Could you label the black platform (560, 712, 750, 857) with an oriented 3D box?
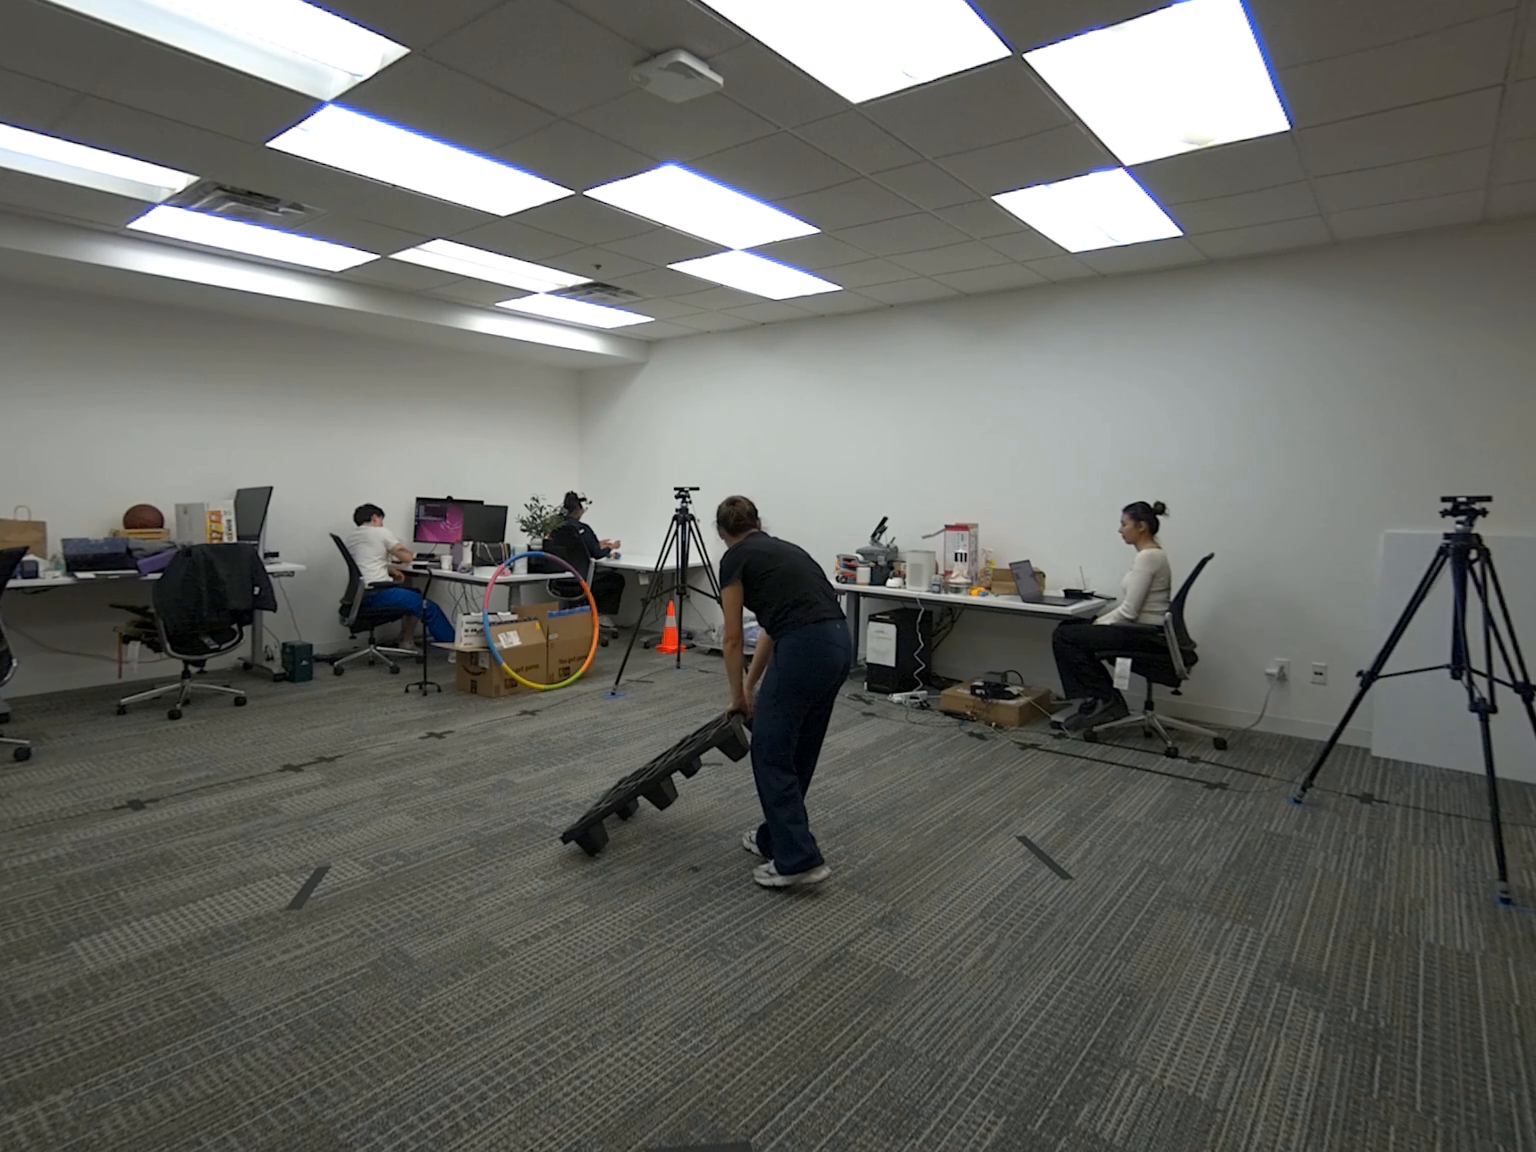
[{"bbox_3d":[-0.356,0.765,3.355,0.808,0.144,0.600,-35,-1,12],"label":"black platform"}]
